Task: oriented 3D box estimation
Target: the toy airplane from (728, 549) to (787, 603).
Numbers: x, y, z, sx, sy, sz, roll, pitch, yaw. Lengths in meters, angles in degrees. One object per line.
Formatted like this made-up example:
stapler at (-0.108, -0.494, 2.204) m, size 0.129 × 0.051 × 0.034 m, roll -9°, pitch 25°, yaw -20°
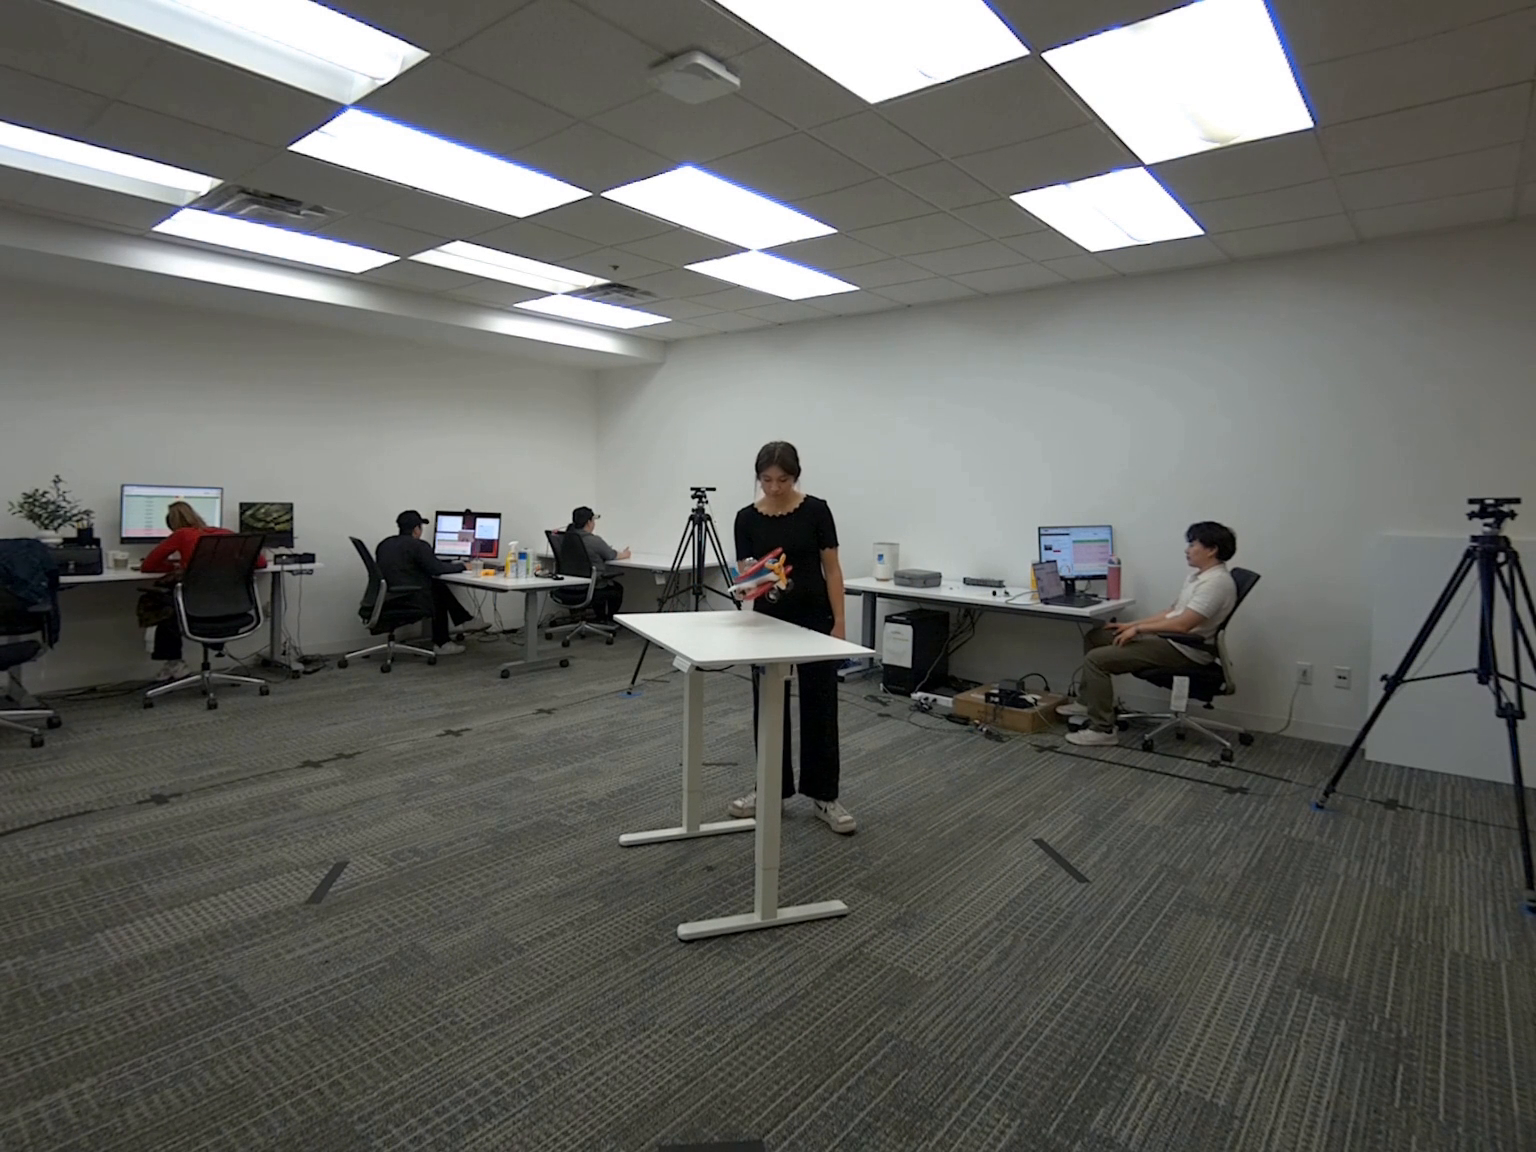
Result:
toy airplane at (-0.055, 0.008, 3.198) m, size 0.262 × 0.153 × 0.253 m, roll -14°, pitch 18°, yaw 15°
